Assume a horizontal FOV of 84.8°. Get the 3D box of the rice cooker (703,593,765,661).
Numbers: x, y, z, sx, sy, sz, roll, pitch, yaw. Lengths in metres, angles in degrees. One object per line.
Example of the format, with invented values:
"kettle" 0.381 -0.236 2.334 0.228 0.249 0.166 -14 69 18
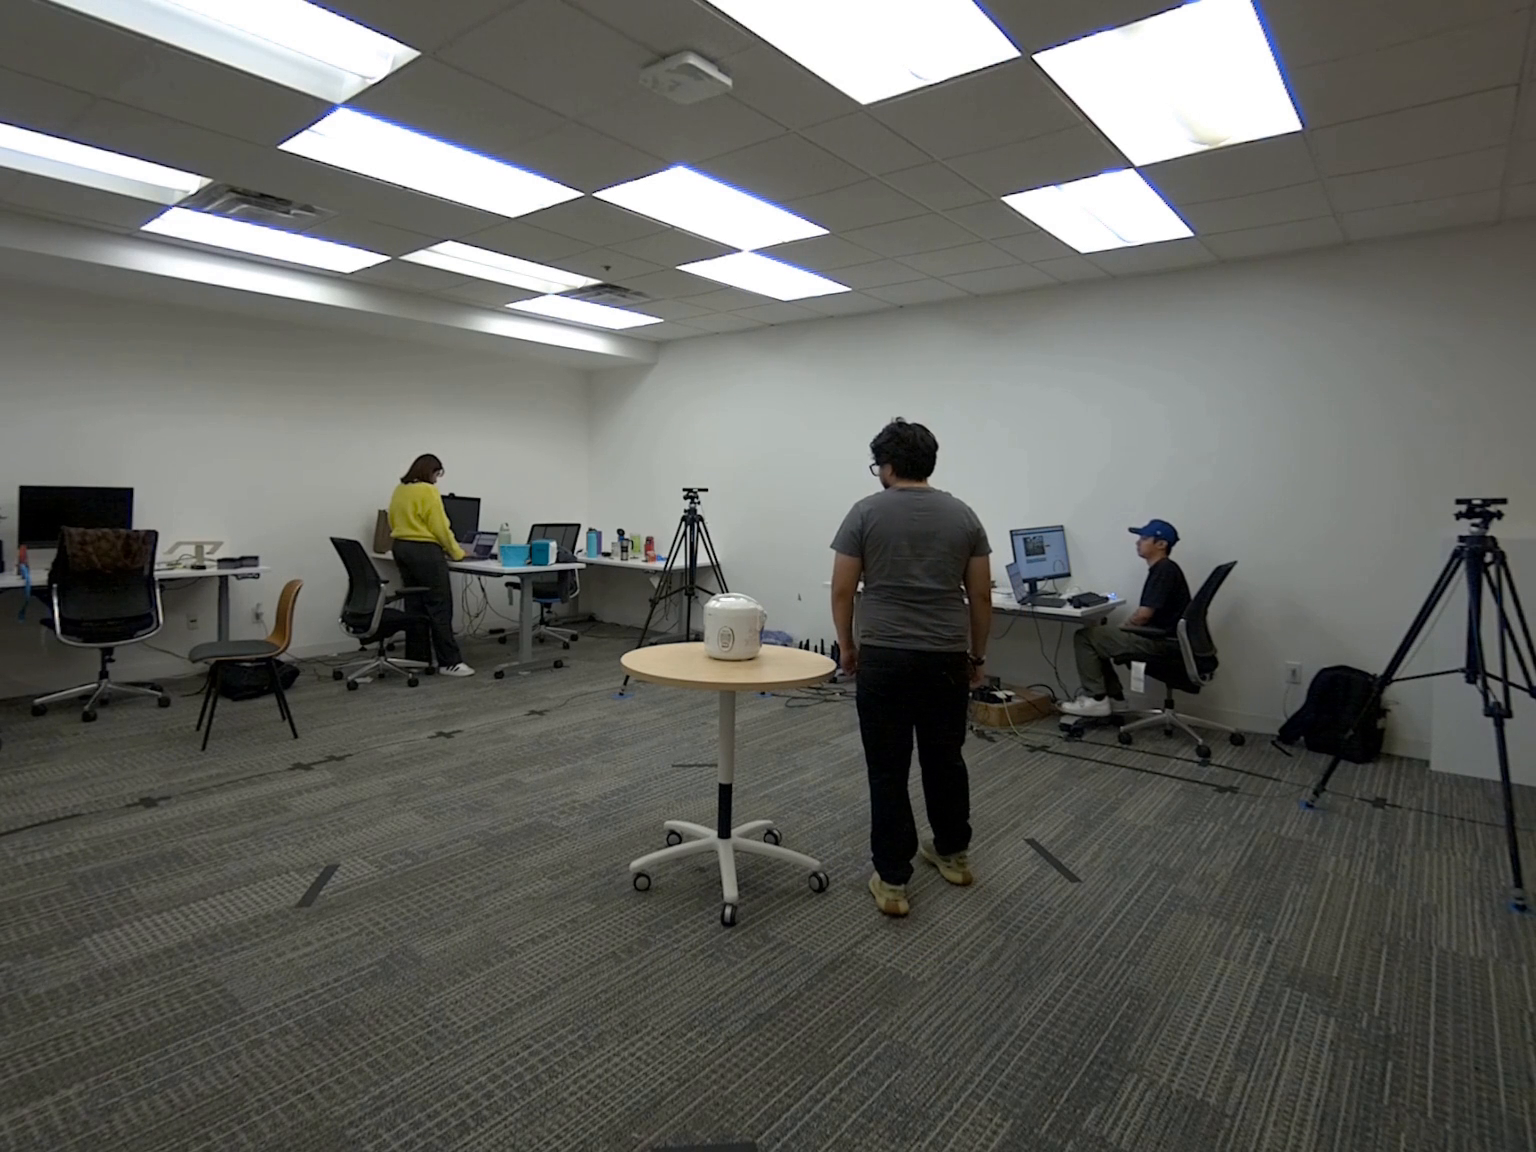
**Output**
"rice cooker" -0.134 0.175 3.093 0.224 0.232 0.215 2 3 12
